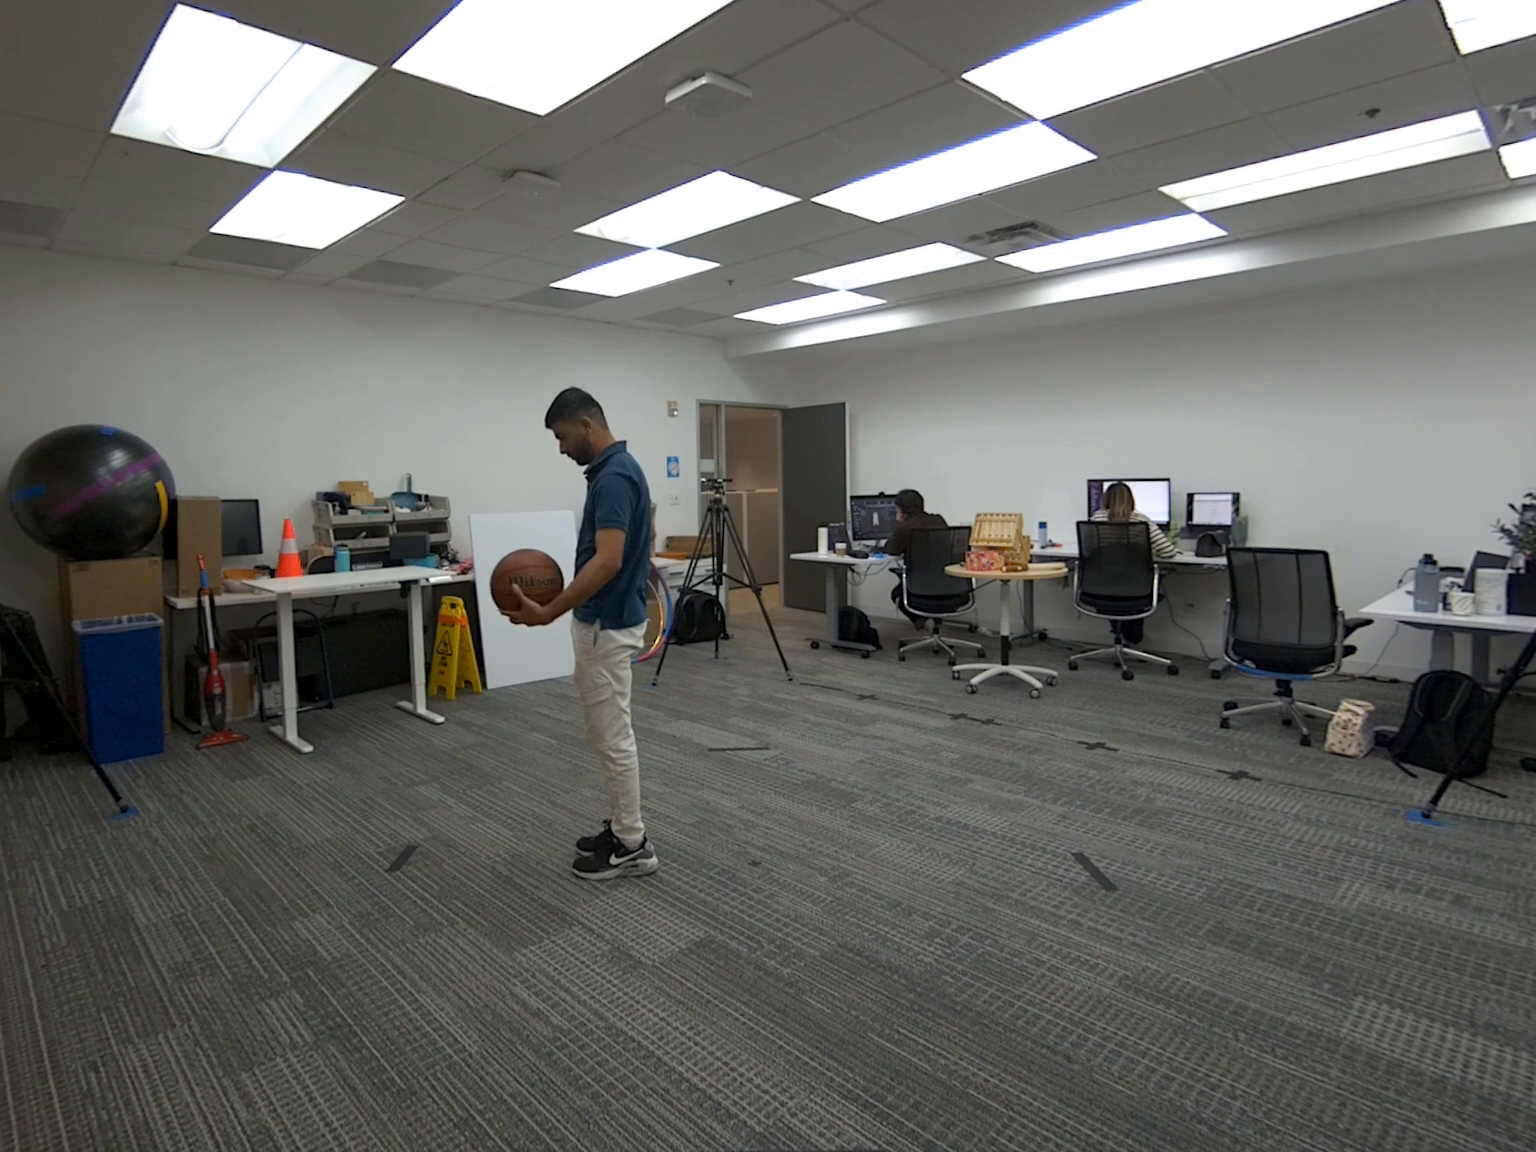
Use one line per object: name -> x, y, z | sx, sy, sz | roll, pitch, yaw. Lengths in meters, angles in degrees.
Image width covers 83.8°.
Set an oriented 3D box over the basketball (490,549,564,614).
basketball -> -0.778, 0.025, 2.819 | 0.236, 0.235, 0.237 | -1, 5, -2
